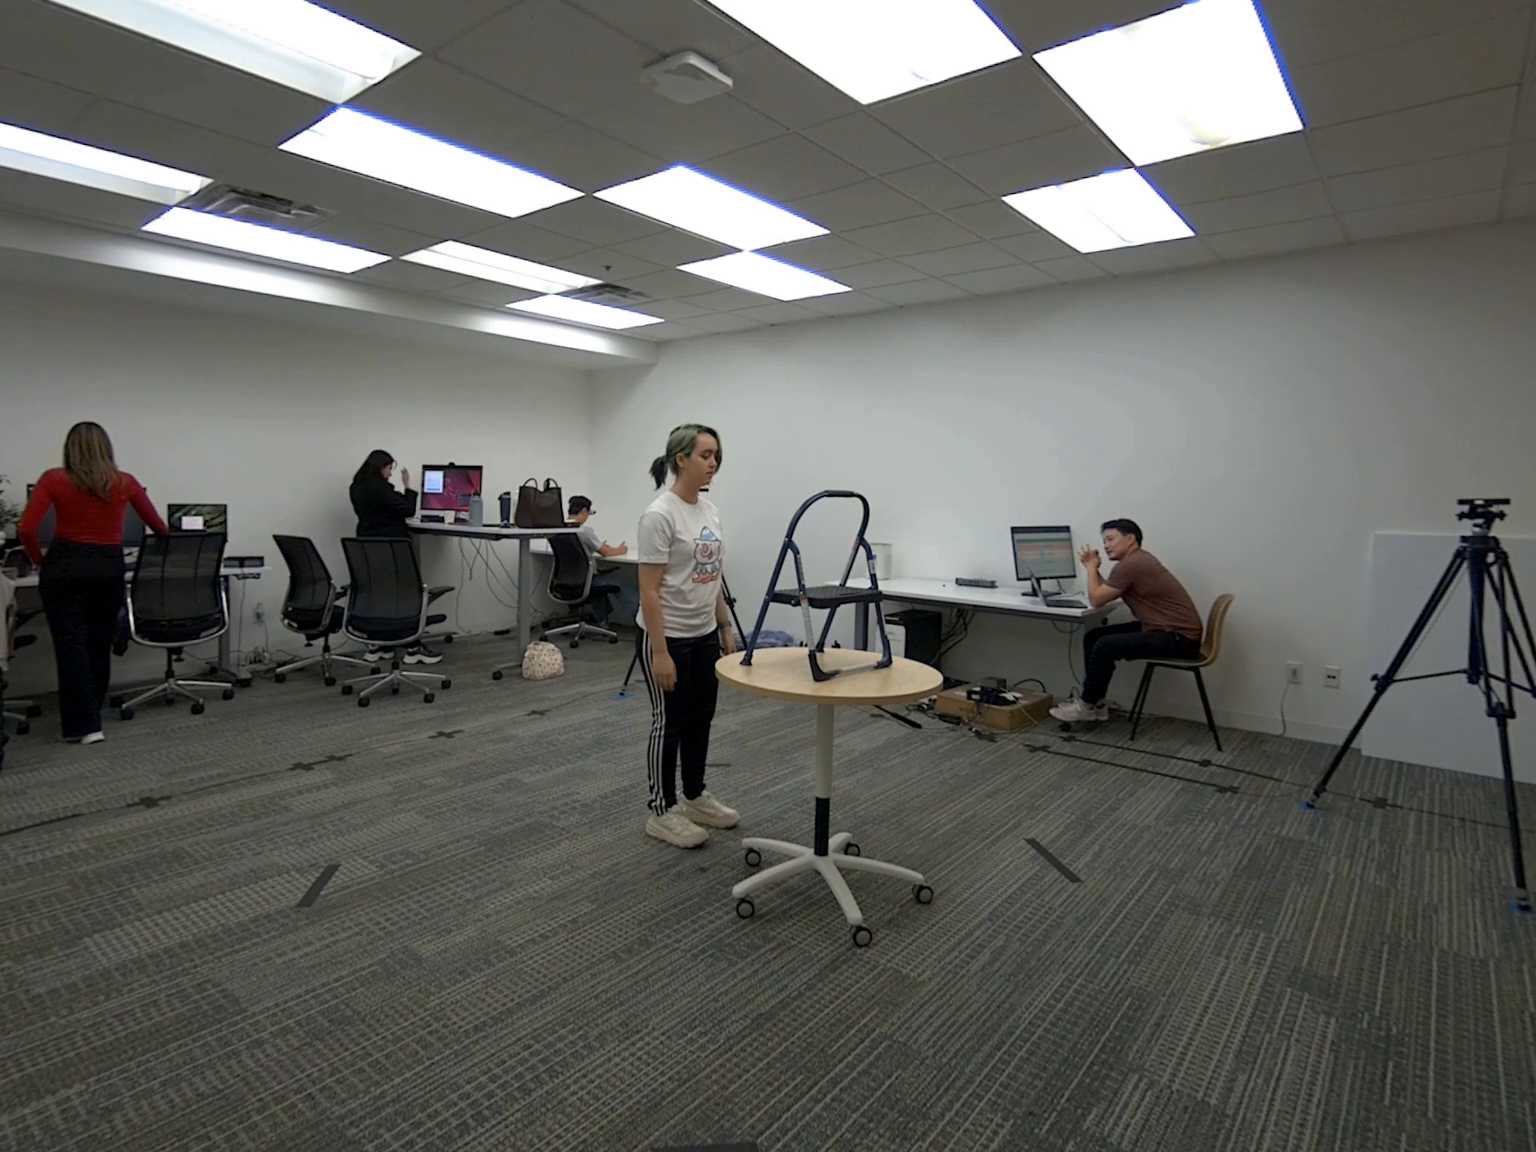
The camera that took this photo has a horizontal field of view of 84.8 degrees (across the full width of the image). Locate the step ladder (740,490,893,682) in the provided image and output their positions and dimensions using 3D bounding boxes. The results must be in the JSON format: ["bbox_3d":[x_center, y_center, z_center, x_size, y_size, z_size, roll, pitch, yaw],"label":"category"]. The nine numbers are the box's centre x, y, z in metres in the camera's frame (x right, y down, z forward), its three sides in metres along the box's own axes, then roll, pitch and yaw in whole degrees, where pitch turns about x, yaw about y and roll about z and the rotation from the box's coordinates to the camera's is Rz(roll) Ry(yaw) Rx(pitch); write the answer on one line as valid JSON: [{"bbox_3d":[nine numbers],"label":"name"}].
[{"bbox_3d":[0.177,0.008,2.939,0.361,0.604,0.417,5,5,44],"label":"step ladder"}]
